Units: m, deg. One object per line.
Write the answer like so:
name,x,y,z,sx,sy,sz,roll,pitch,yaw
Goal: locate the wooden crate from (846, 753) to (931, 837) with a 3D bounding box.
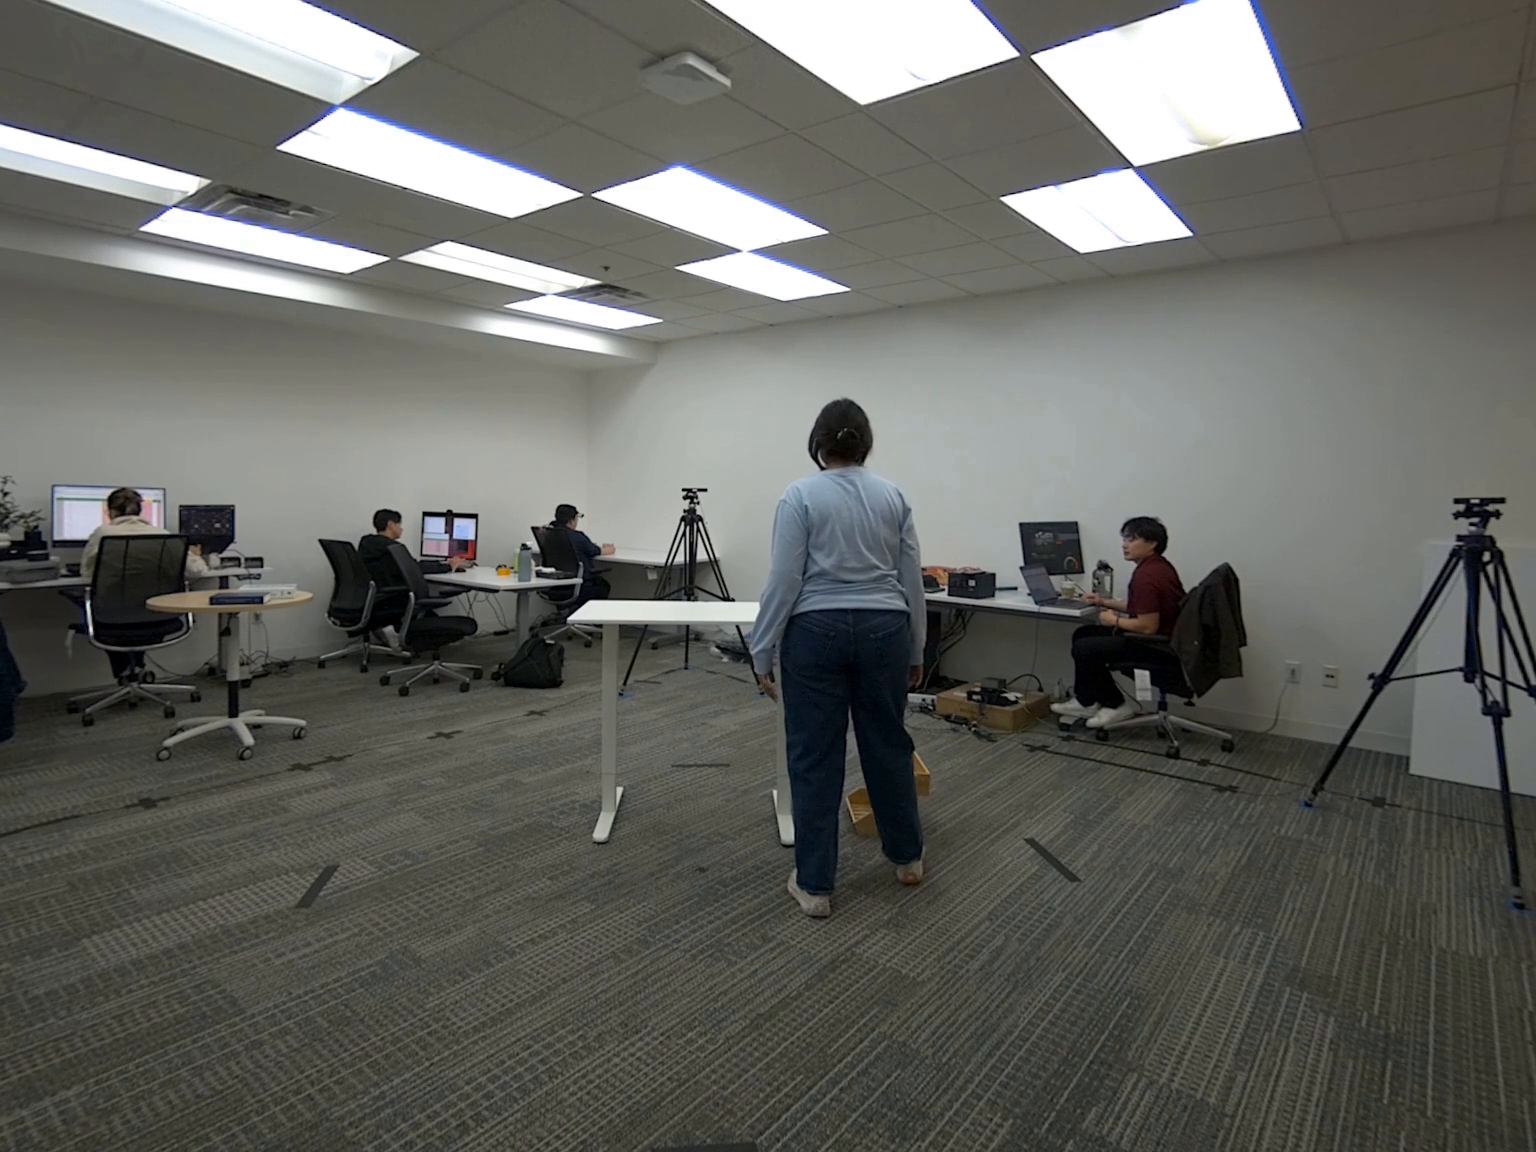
wooden crate,0.486,0.899,3.599,0.302,0.272,0.326,3,5,-1
